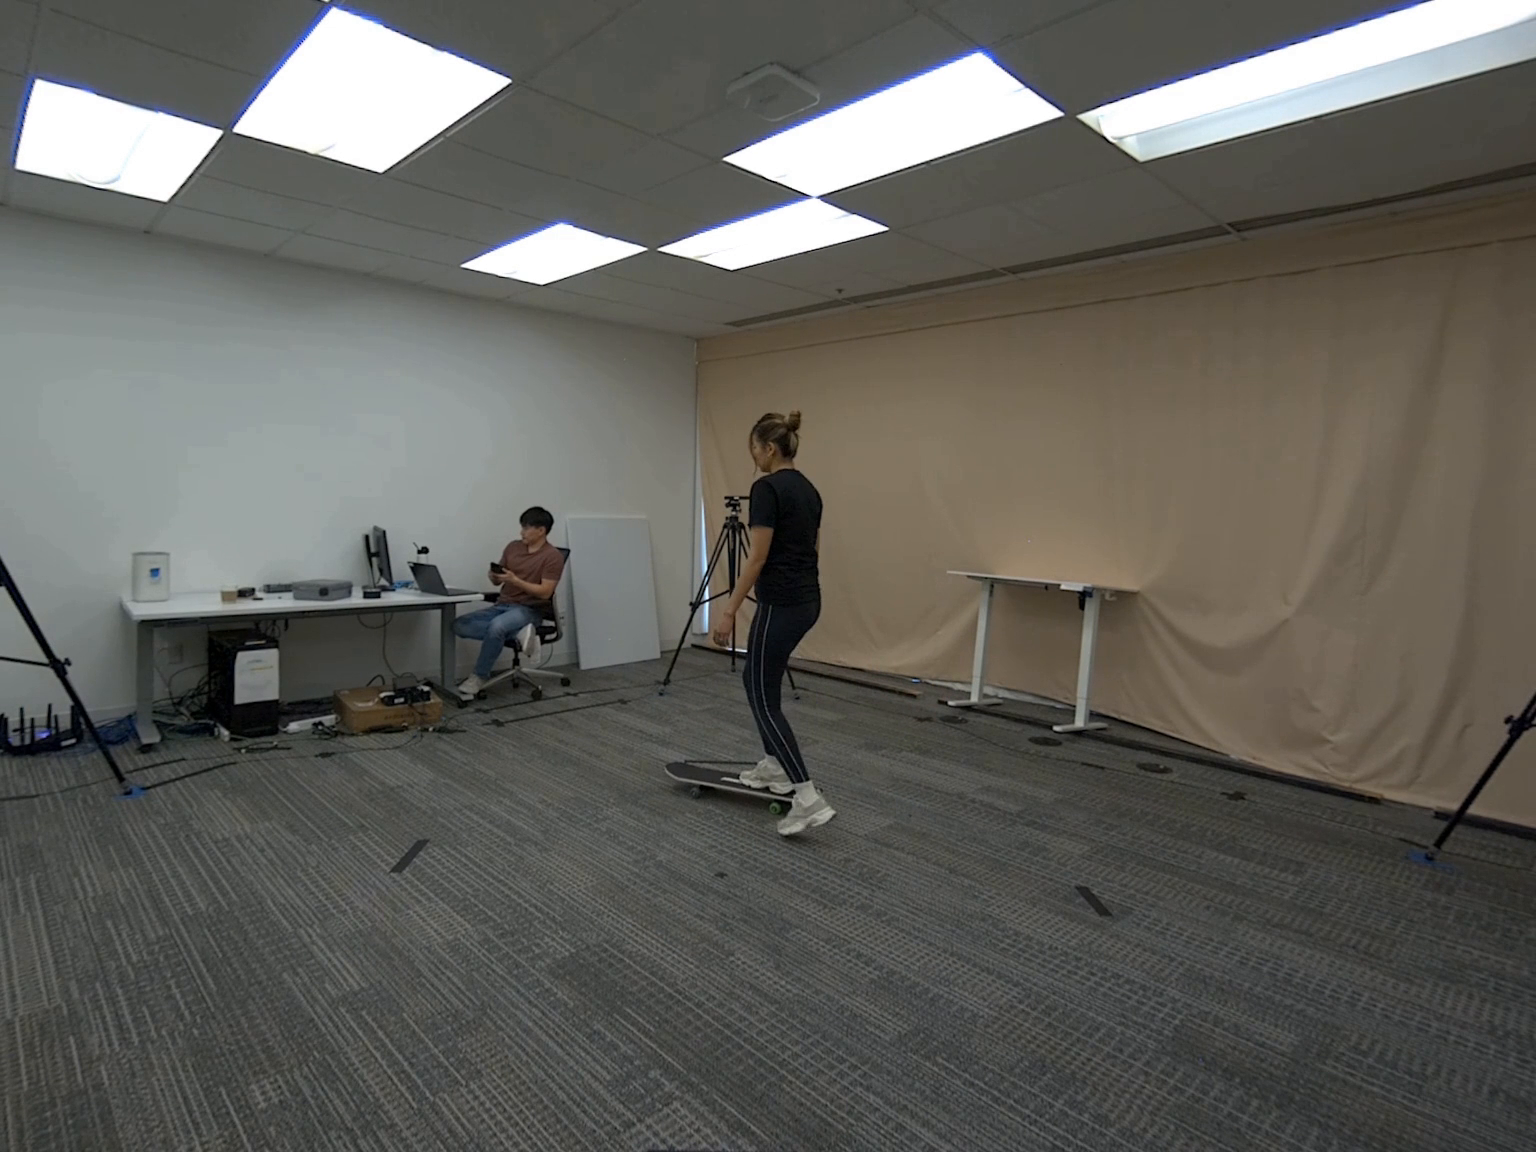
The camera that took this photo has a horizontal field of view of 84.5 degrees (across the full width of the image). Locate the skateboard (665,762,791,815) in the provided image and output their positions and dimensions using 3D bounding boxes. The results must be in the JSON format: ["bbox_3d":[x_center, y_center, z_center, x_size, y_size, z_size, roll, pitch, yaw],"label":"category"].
[{"bbox_3d":[-0.131,0.987,3.891,0.800,0.110,0.190,4,5,24],"label":"skateboard"}]
